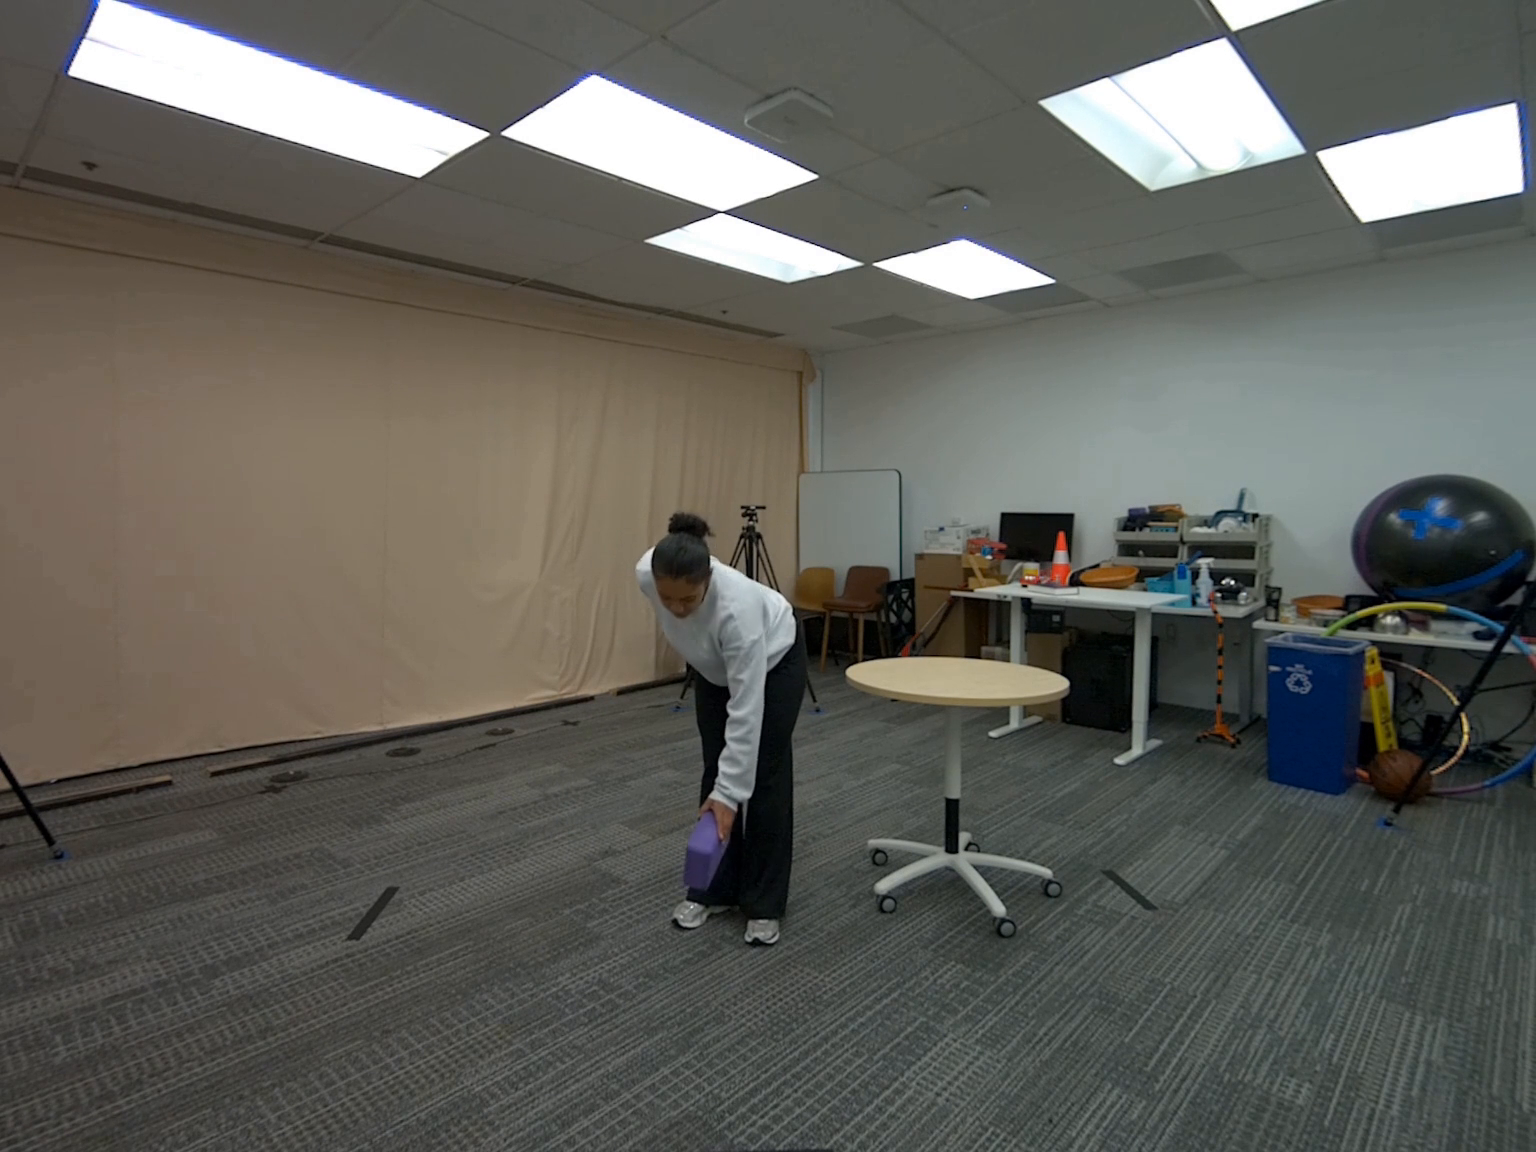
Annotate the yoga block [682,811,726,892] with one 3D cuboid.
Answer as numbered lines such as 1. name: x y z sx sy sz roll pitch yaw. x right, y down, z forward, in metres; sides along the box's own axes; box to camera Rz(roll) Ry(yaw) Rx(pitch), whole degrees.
1. yoga block: -0.169 0.788 2.482 0.077 0.147 0.229 9 24 9
